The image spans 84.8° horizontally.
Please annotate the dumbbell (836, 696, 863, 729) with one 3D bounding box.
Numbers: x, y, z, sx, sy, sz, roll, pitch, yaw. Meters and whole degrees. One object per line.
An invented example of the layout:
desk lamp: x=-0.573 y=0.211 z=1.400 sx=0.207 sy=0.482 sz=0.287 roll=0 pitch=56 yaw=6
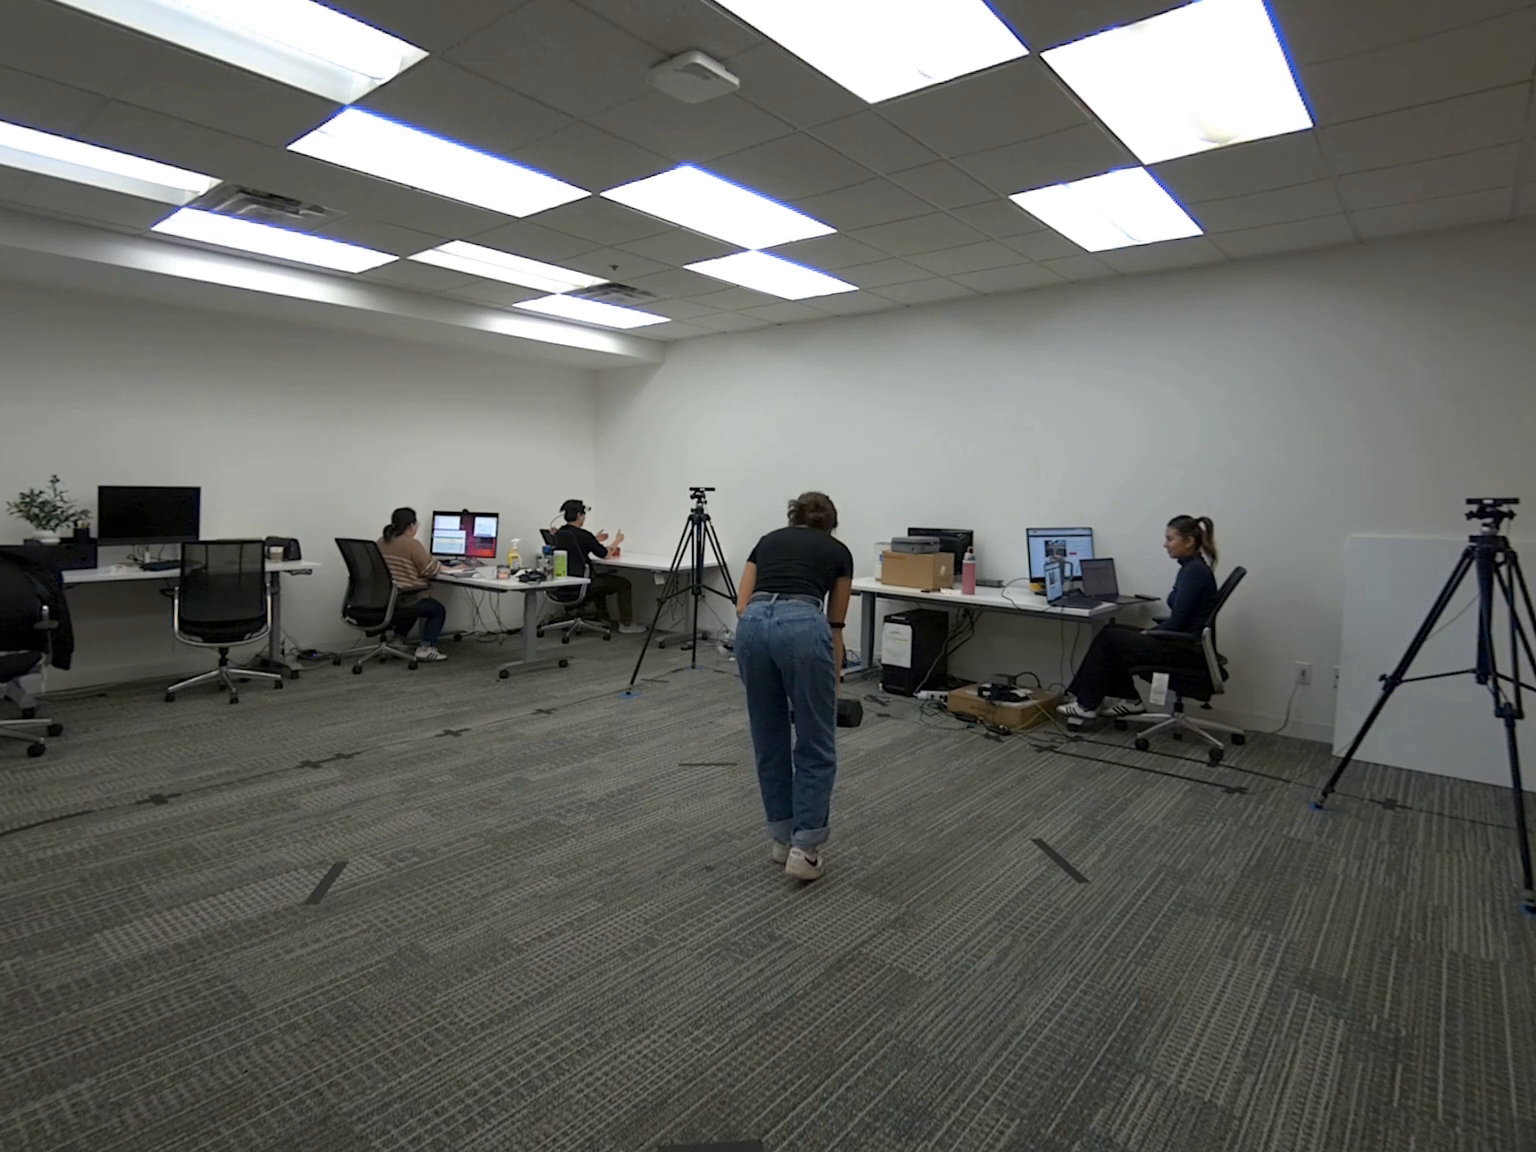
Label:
dumbbell: x=0.208 y=0.525 z=3.277 sx=0.302 sy=0.124 sz=0.104 roll=-2 pitch=-36 yaw=37
